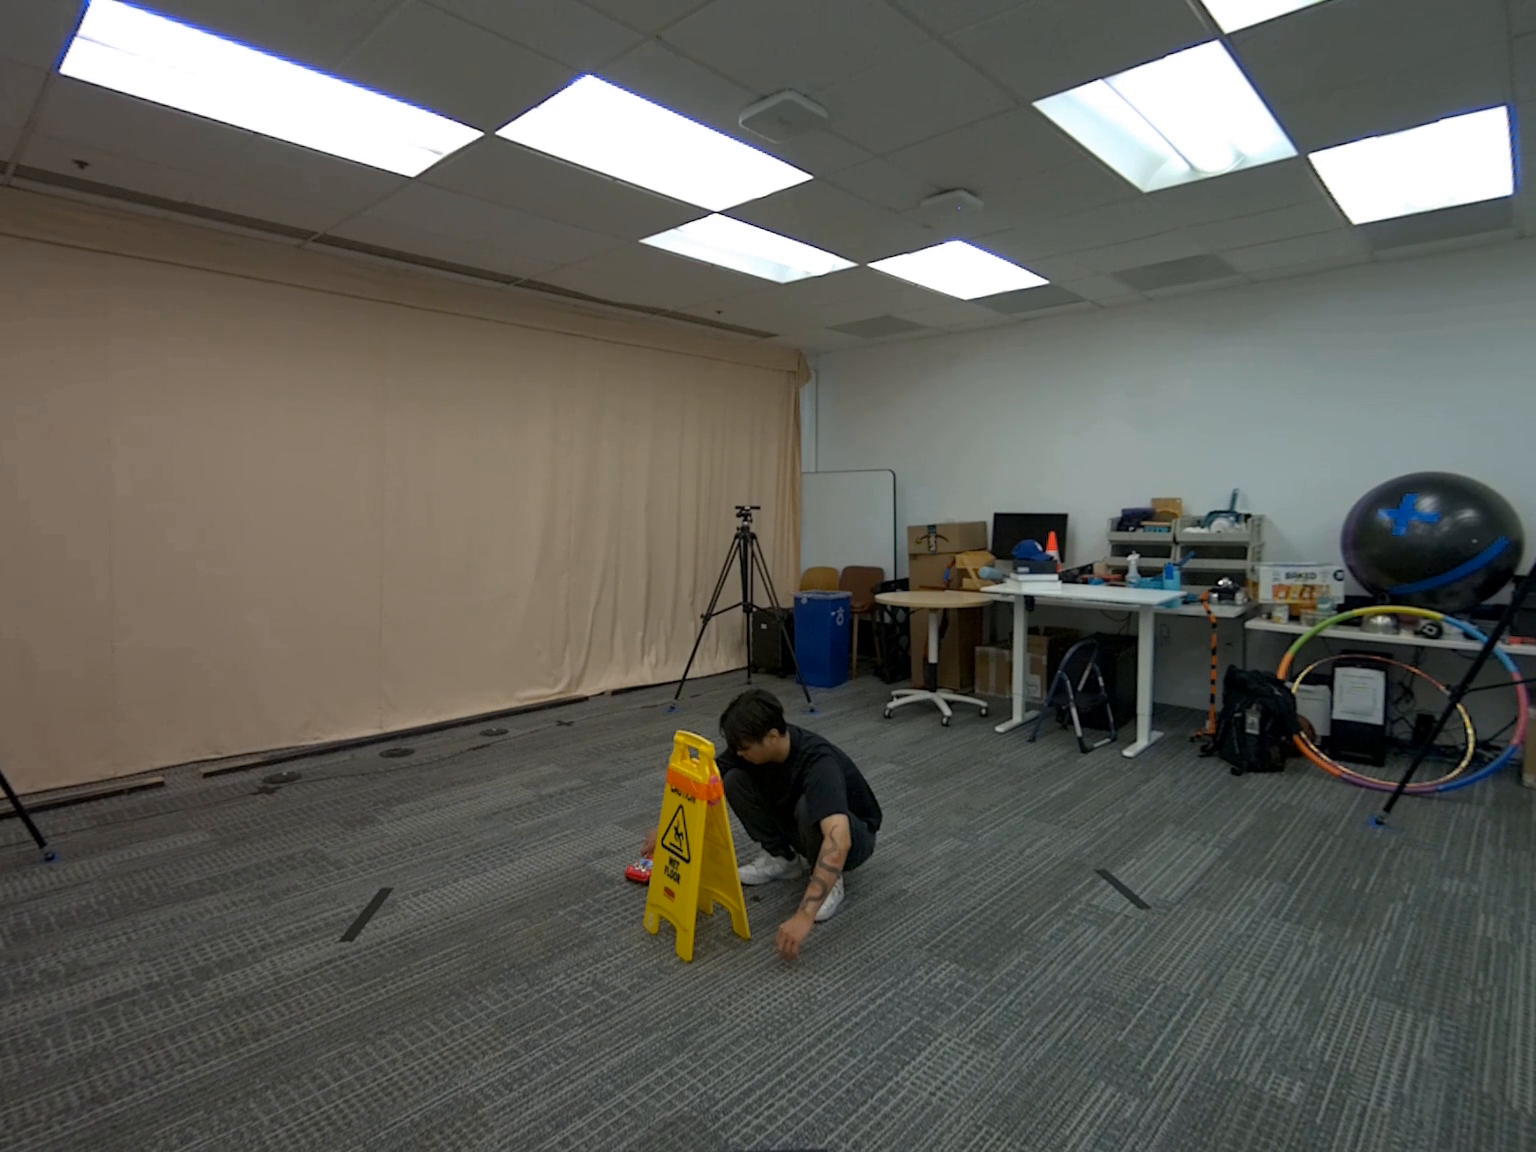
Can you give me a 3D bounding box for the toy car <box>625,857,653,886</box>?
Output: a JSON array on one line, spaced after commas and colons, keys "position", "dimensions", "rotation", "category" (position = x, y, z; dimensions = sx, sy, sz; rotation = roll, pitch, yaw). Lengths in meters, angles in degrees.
[{"position": [-0.430, 1.101, 3.209], "dimensions": [0.134, 0.082, 0.250], "rotation": [1, 15, 28], "category": "toy car"}]
